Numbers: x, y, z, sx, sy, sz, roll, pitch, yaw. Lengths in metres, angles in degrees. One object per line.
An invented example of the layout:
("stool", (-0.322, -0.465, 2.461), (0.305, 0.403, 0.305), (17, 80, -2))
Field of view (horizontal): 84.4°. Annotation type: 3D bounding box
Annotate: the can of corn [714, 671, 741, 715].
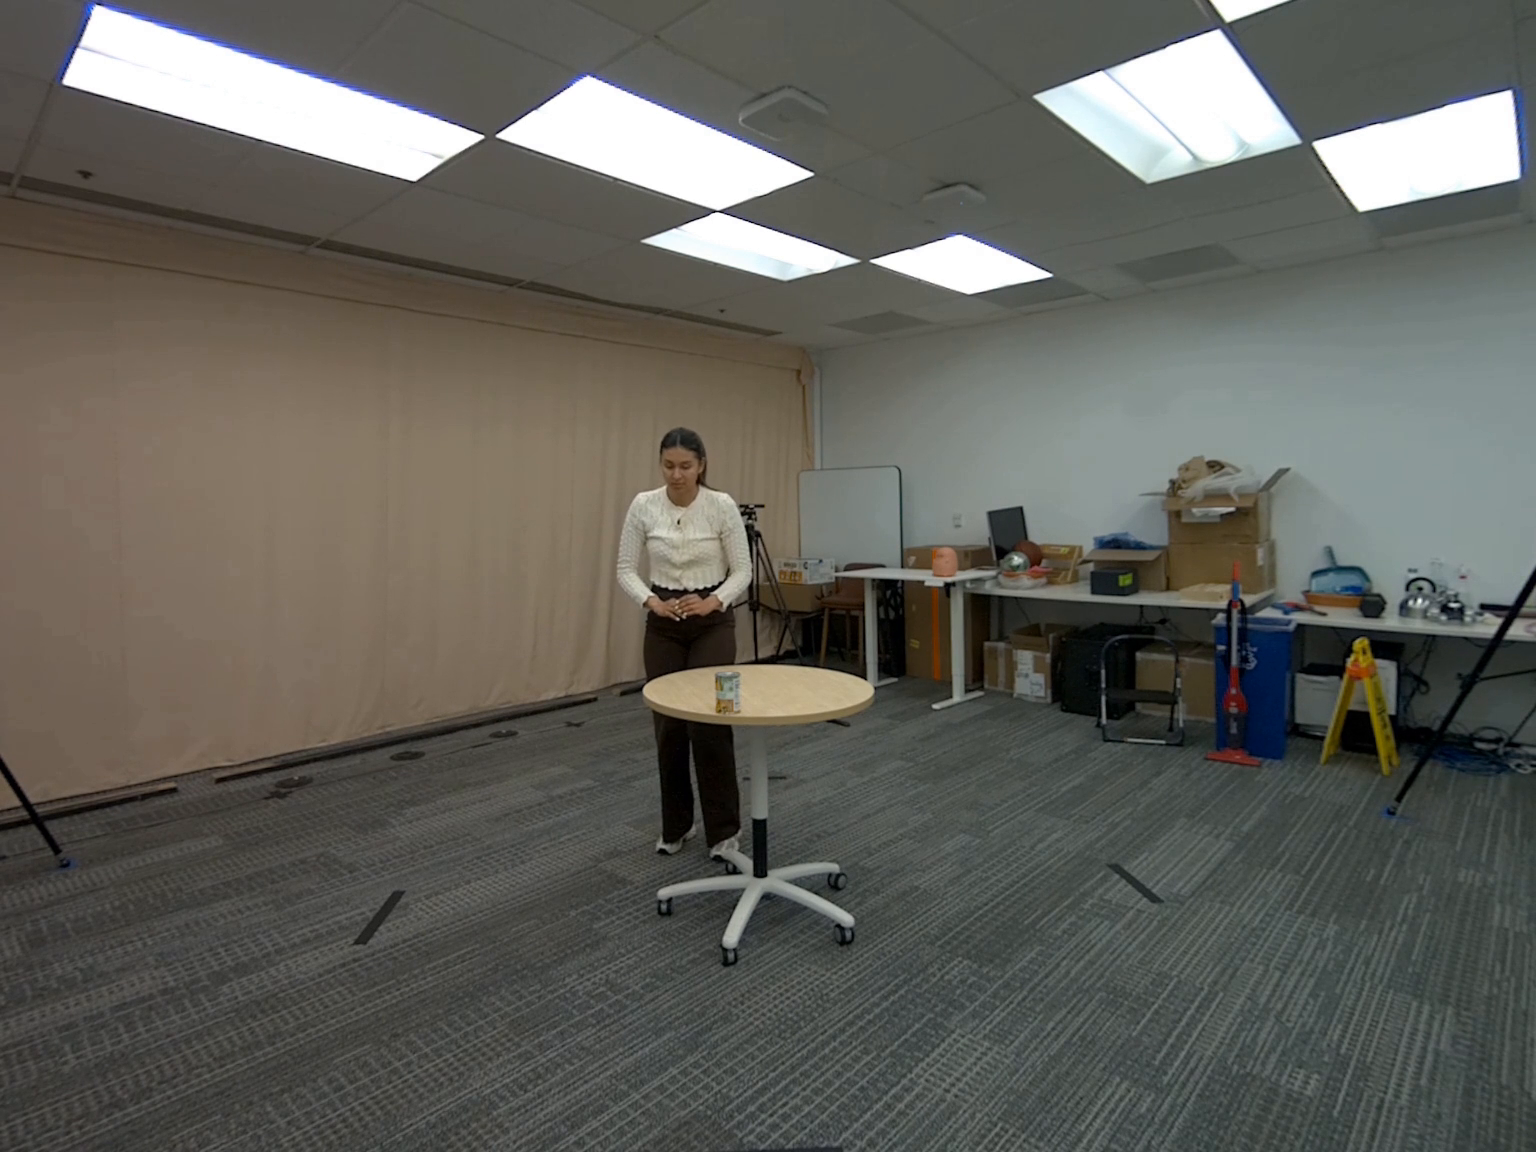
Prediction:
("can of corn", (-0.112, 0.347, 2.480), (0.074, 0.110, 0.074), (-4, 6, -1))
